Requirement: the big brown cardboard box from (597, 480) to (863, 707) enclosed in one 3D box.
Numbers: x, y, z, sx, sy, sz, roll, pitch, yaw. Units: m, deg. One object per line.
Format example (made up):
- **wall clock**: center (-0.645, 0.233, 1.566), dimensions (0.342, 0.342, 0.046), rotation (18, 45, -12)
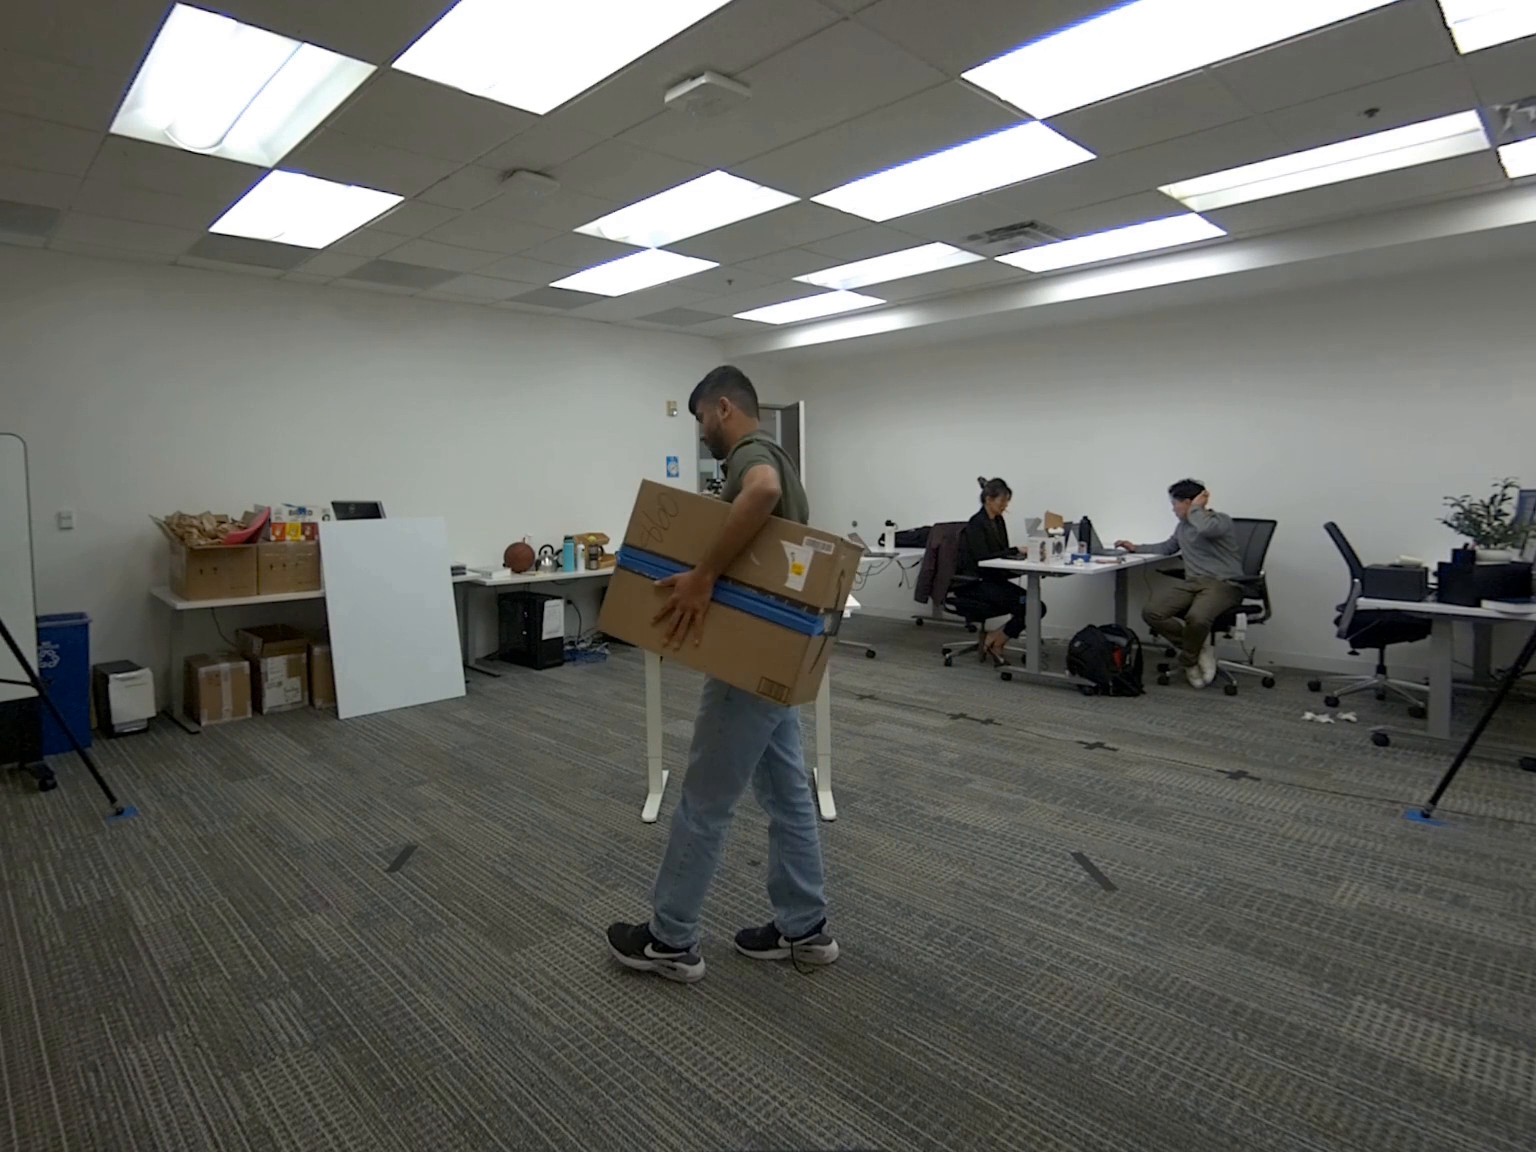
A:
- **big brown cardboard box**: center (-0.098, 0.035, 2.192), dimensions (0.605, 0.417, 0.227), rotation (17, 2, 24)
